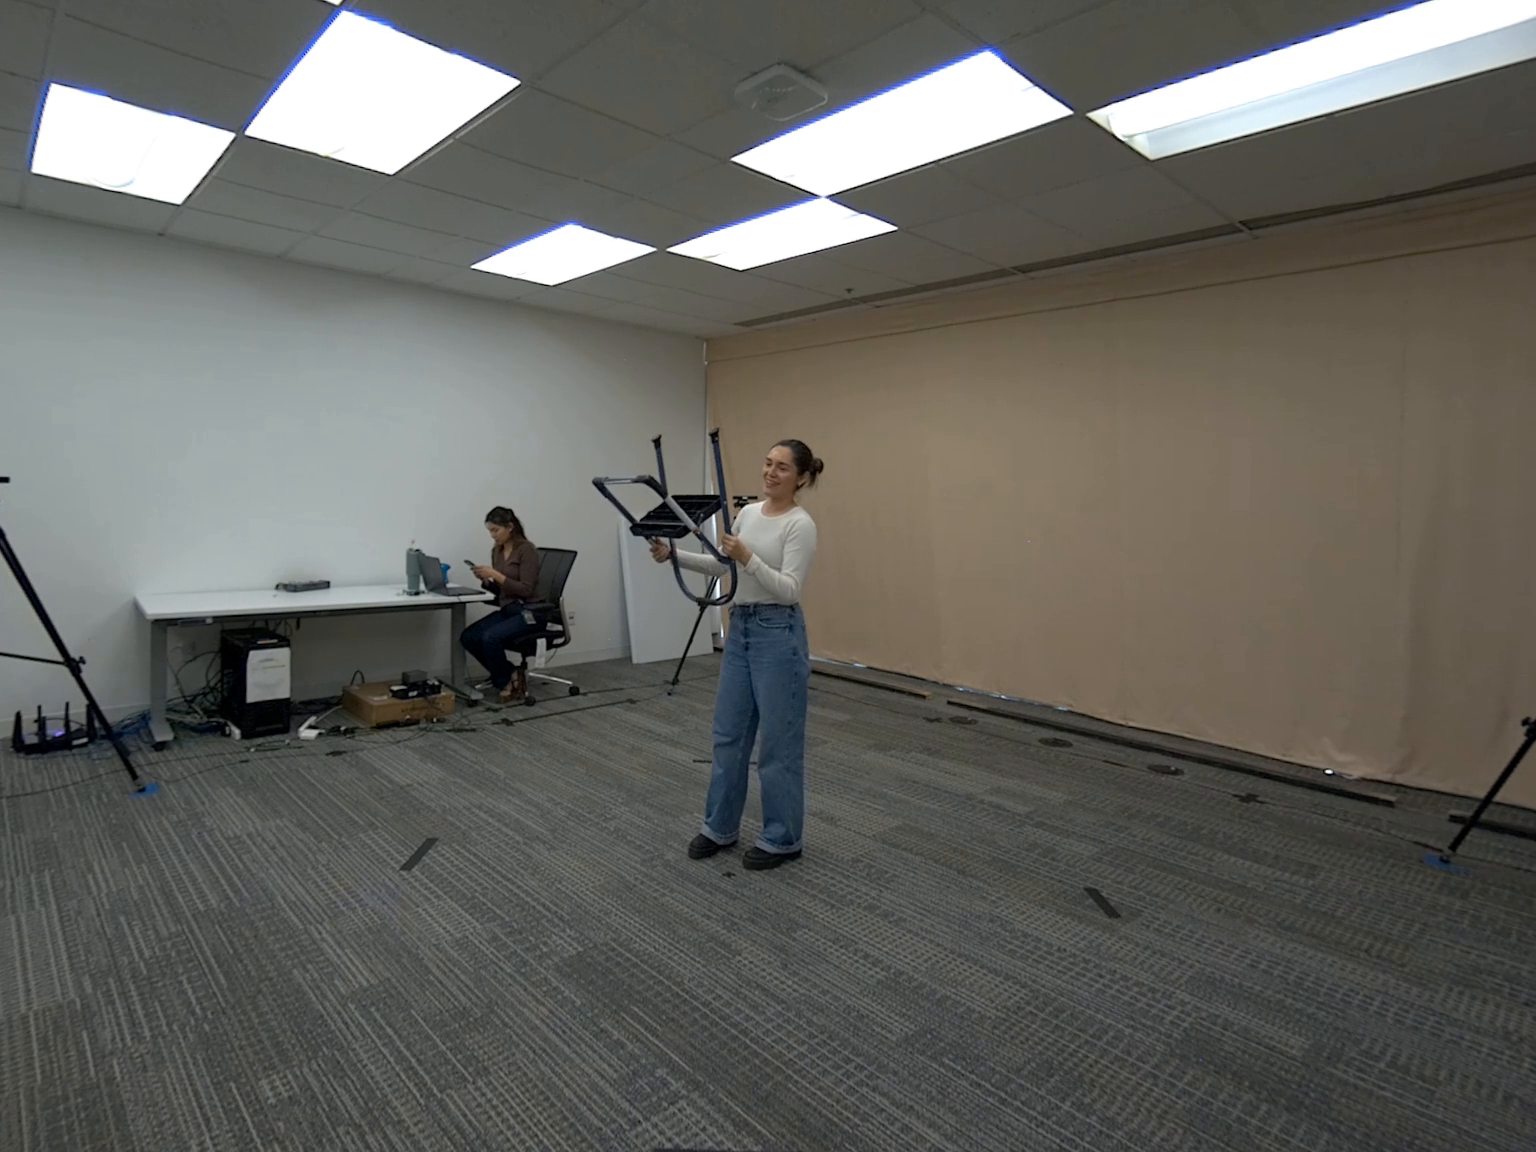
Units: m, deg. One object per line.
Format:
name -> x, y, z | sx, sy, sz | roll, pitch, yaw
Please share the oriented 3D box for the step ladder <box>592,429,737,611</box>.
step ladder -> -0.307, -0.184, 3.131 | 0.348, 0.594, 0.441 | -39, 24, -28
